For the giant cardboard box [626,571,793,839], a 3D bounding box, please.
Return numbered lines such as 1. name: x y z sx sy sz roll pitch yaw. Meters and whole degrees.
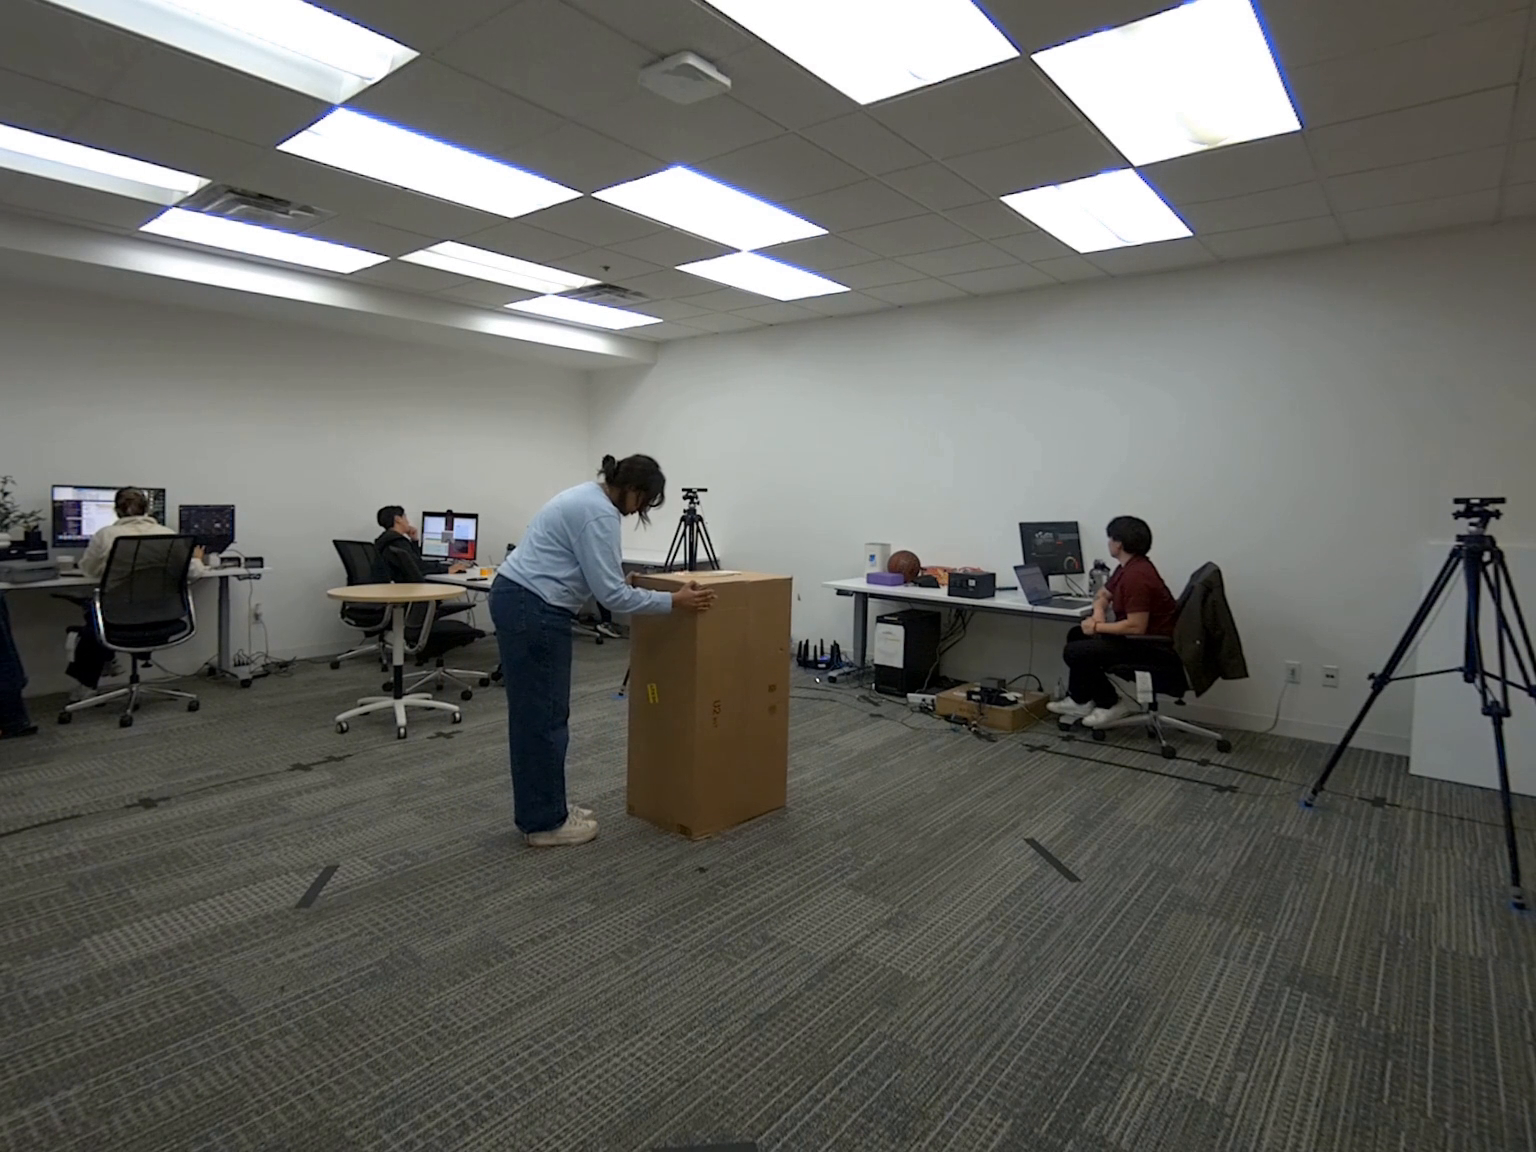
1. giant cardboard box: -0.256 0.510 3.683 0.441 1.023 0.560 4 4 42
